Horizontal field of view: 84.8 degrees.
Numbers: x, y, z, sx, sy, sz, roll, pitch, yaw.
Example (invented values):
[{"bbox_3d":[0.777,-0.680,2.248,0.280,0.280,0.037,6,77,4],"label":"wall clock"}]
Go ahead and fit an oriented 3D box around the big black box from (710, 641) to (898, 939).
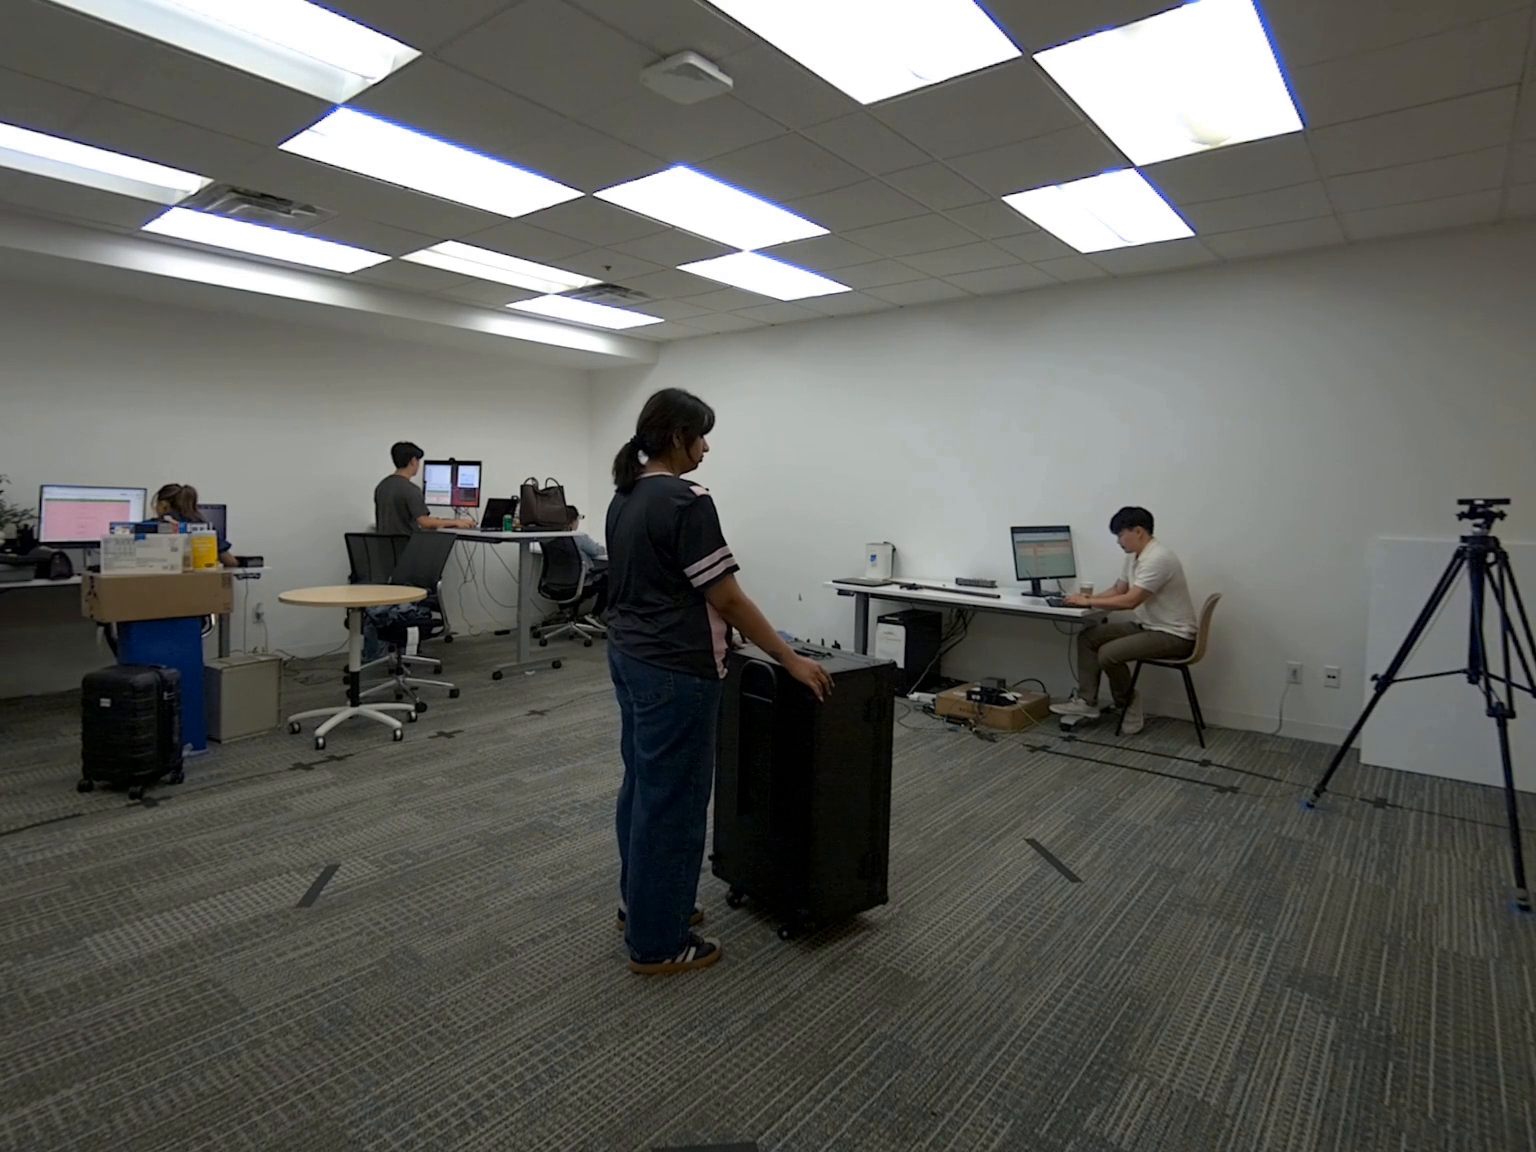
[{"bbox_3d":[0.099,0.684,2.793,0.373,0.866,0.541,-1,4,-39],"label":"big black box"}]
